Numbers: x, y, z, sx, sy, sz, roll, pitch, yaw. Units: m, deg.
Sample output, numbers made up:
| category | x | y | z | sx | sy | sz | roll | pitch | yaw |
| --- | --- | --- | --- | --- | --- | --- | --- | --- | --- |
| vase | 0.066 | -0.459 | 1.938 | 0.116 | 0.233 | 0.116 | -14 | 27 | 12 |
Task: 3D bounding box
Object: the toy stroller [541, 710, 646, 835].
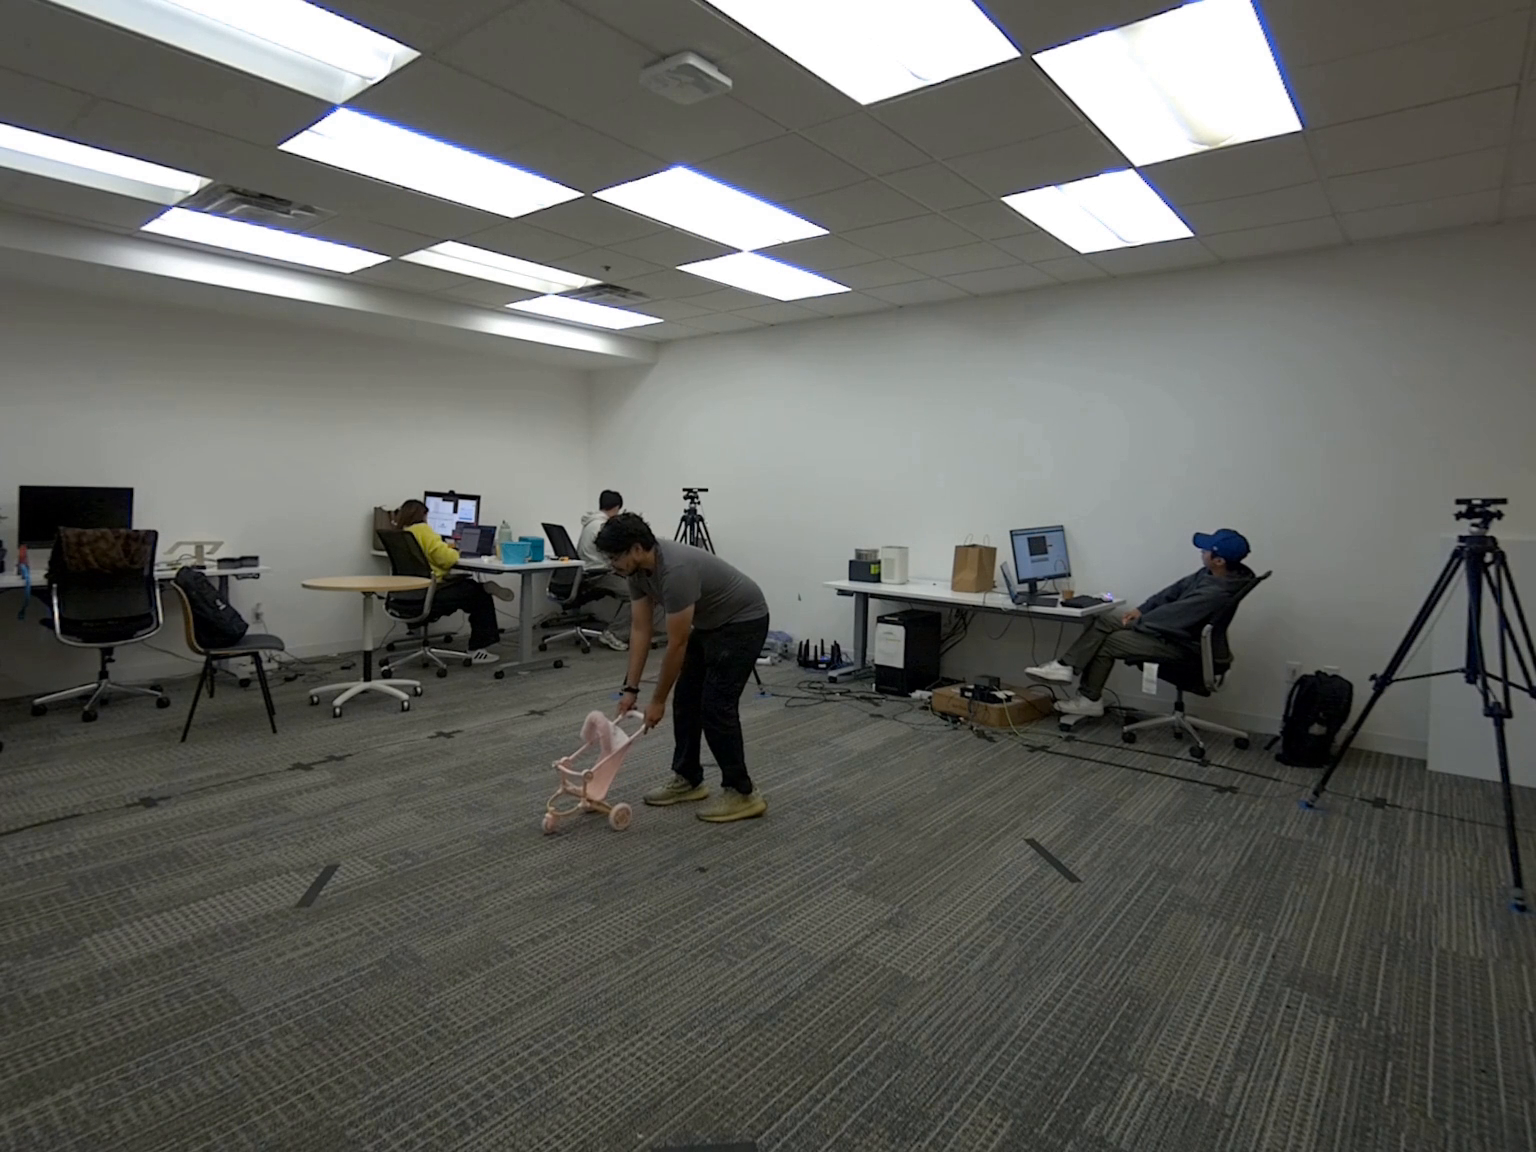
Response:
| category | x | y | z | sx | sy | sz | roll | pitch | yaw |
| --- | --- | --- | --- | --- | --- | --- | --- | --- | --- |
| toy stroller | -0.733 | 0.796 | 3.513 | 0.329 | 0.537 | 0.290 | 18 | -7 | -34 |
